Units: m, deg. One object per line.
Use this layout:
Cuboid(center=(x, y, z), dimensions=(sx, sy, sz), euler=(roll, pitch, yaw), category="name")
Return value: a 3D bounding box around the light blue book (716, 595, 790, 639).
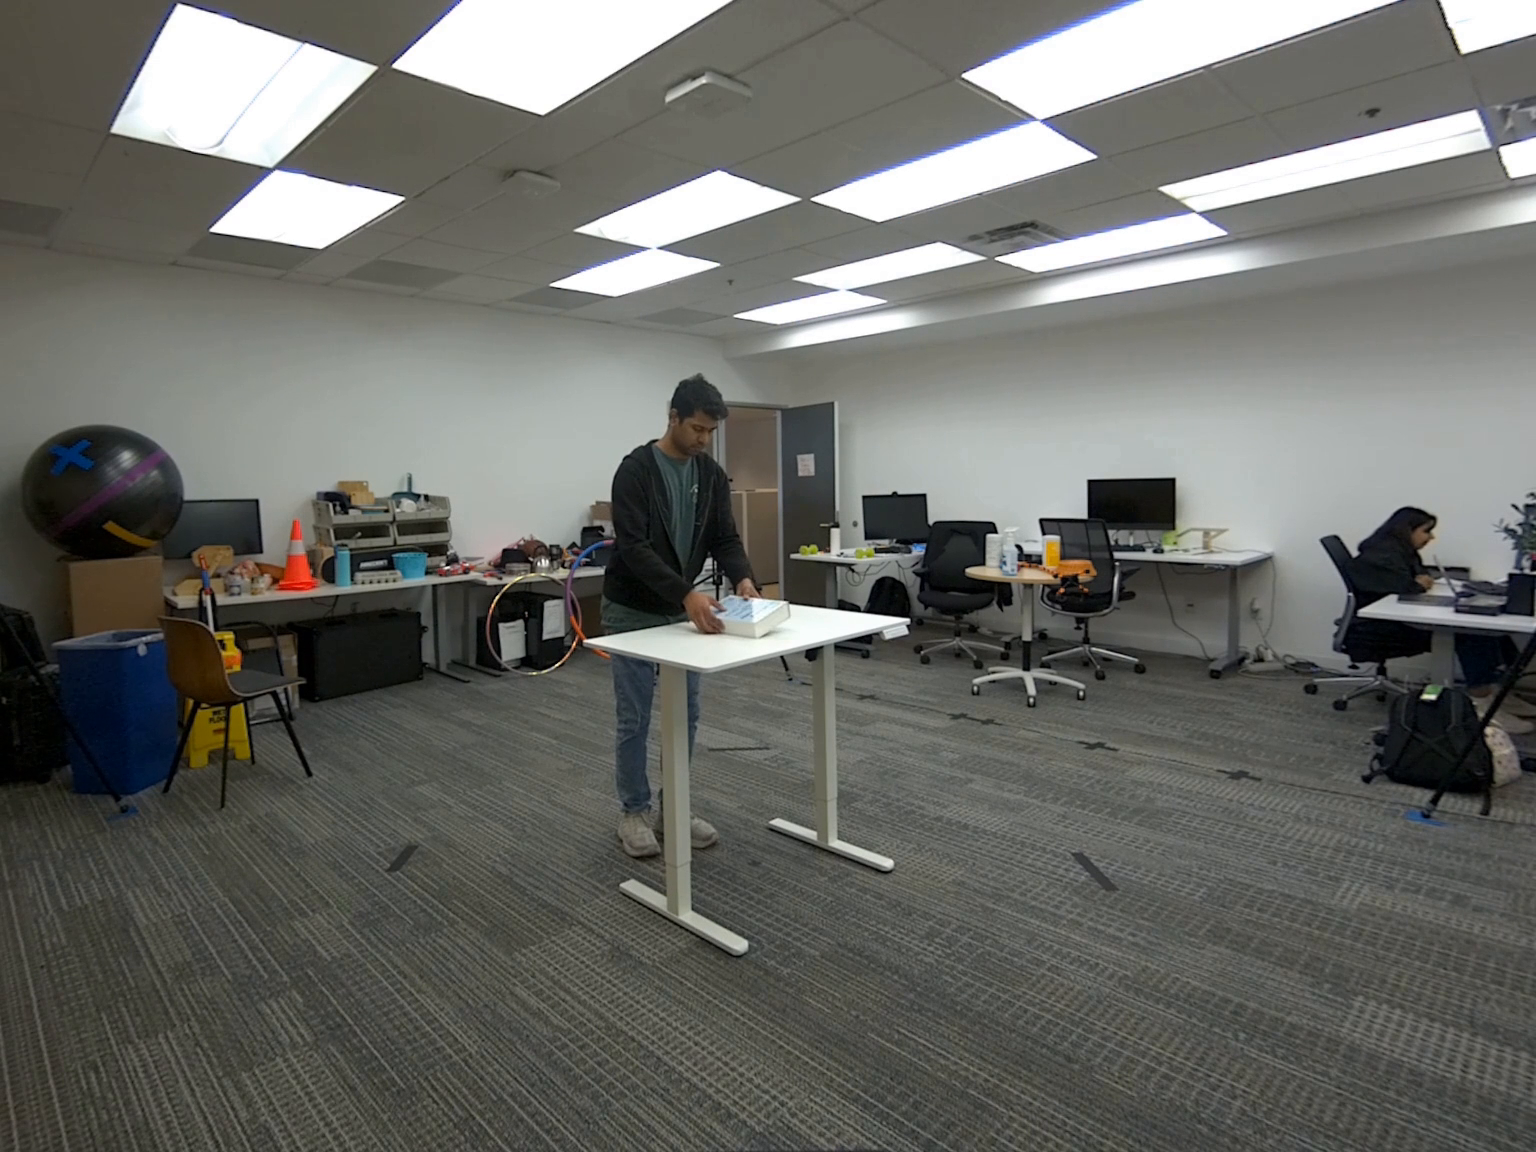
Cuboid(center=(-0.086, 0.139, 2.888), dimensions=(0.269, 0.058, 0.189), euler=(2, 22, 39), category="light blue book")
